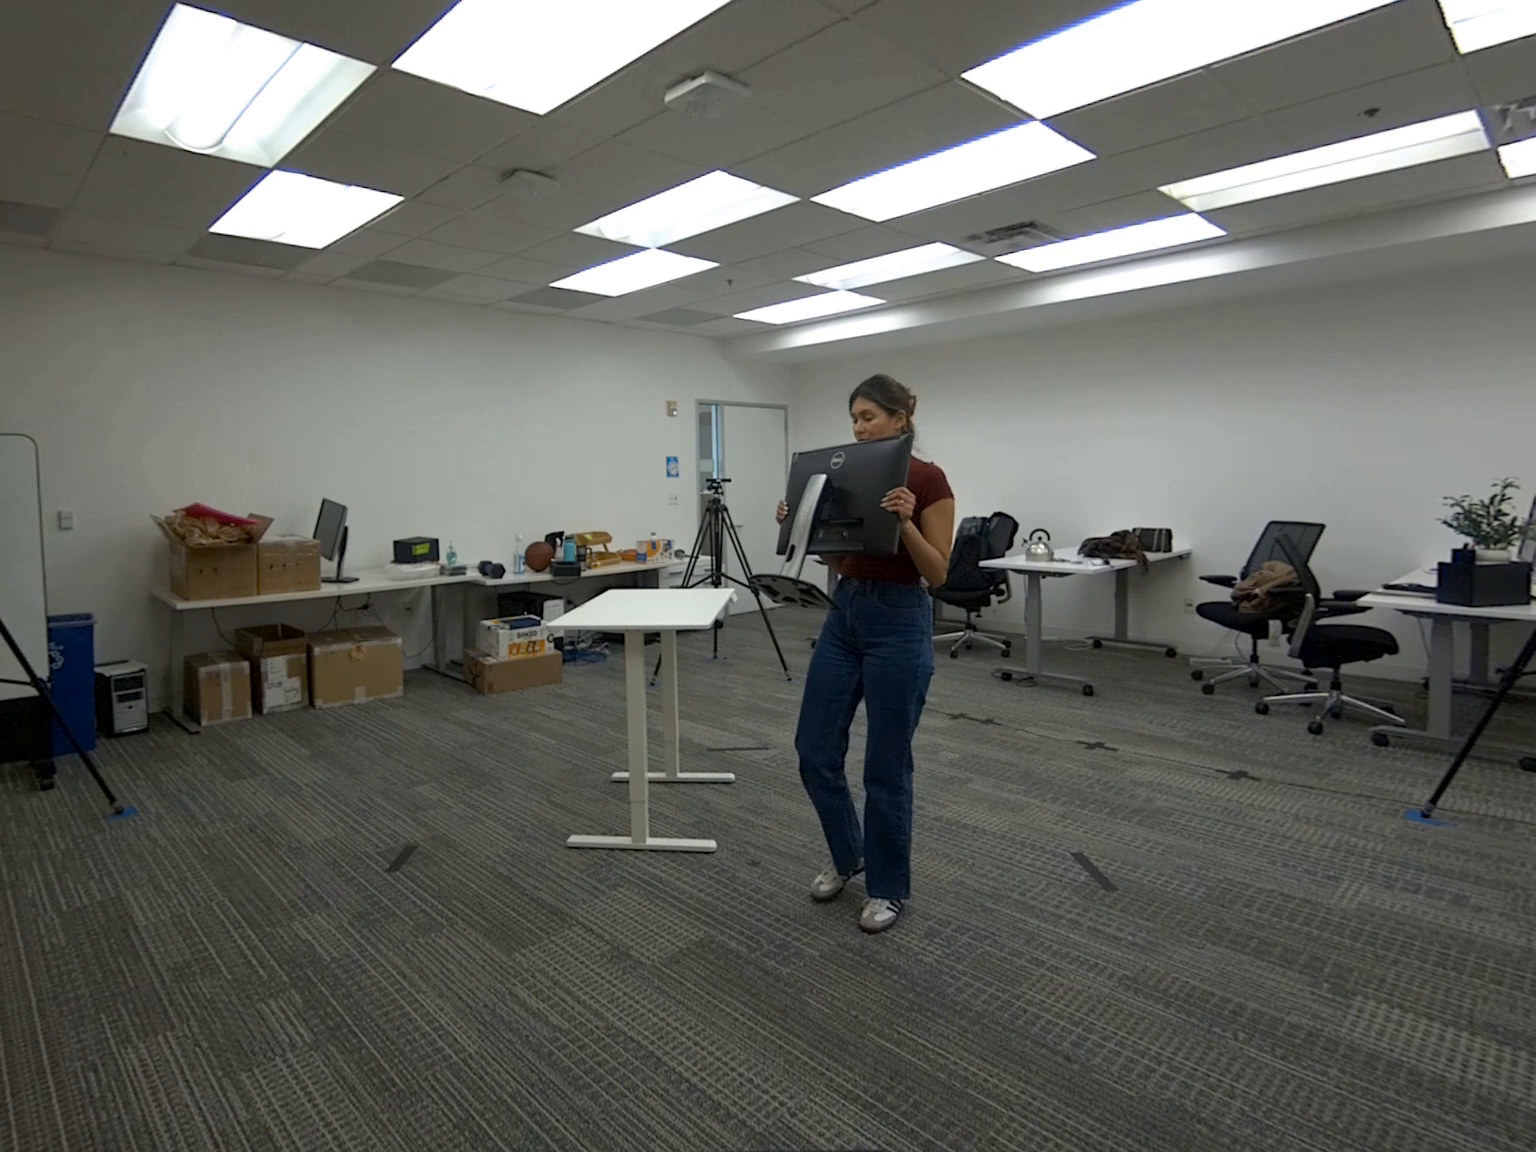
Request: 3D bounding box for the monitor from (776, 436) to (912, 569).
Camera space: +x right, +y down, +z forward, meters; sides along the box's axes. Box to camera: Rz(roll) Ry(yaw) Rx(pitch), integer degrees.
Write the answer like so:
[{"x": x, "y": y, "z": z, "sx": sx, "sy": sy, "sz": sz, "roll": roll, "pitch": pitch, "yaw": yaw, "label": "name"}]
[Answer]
[{"x": 0.166, "y": -0.168, "z": 2.571, "sx": 0.180, "sy": 0.526, "sz": 0.554, "roll": 33, "pitch": -19, "yaw": -34, "label": "monitor"}]
